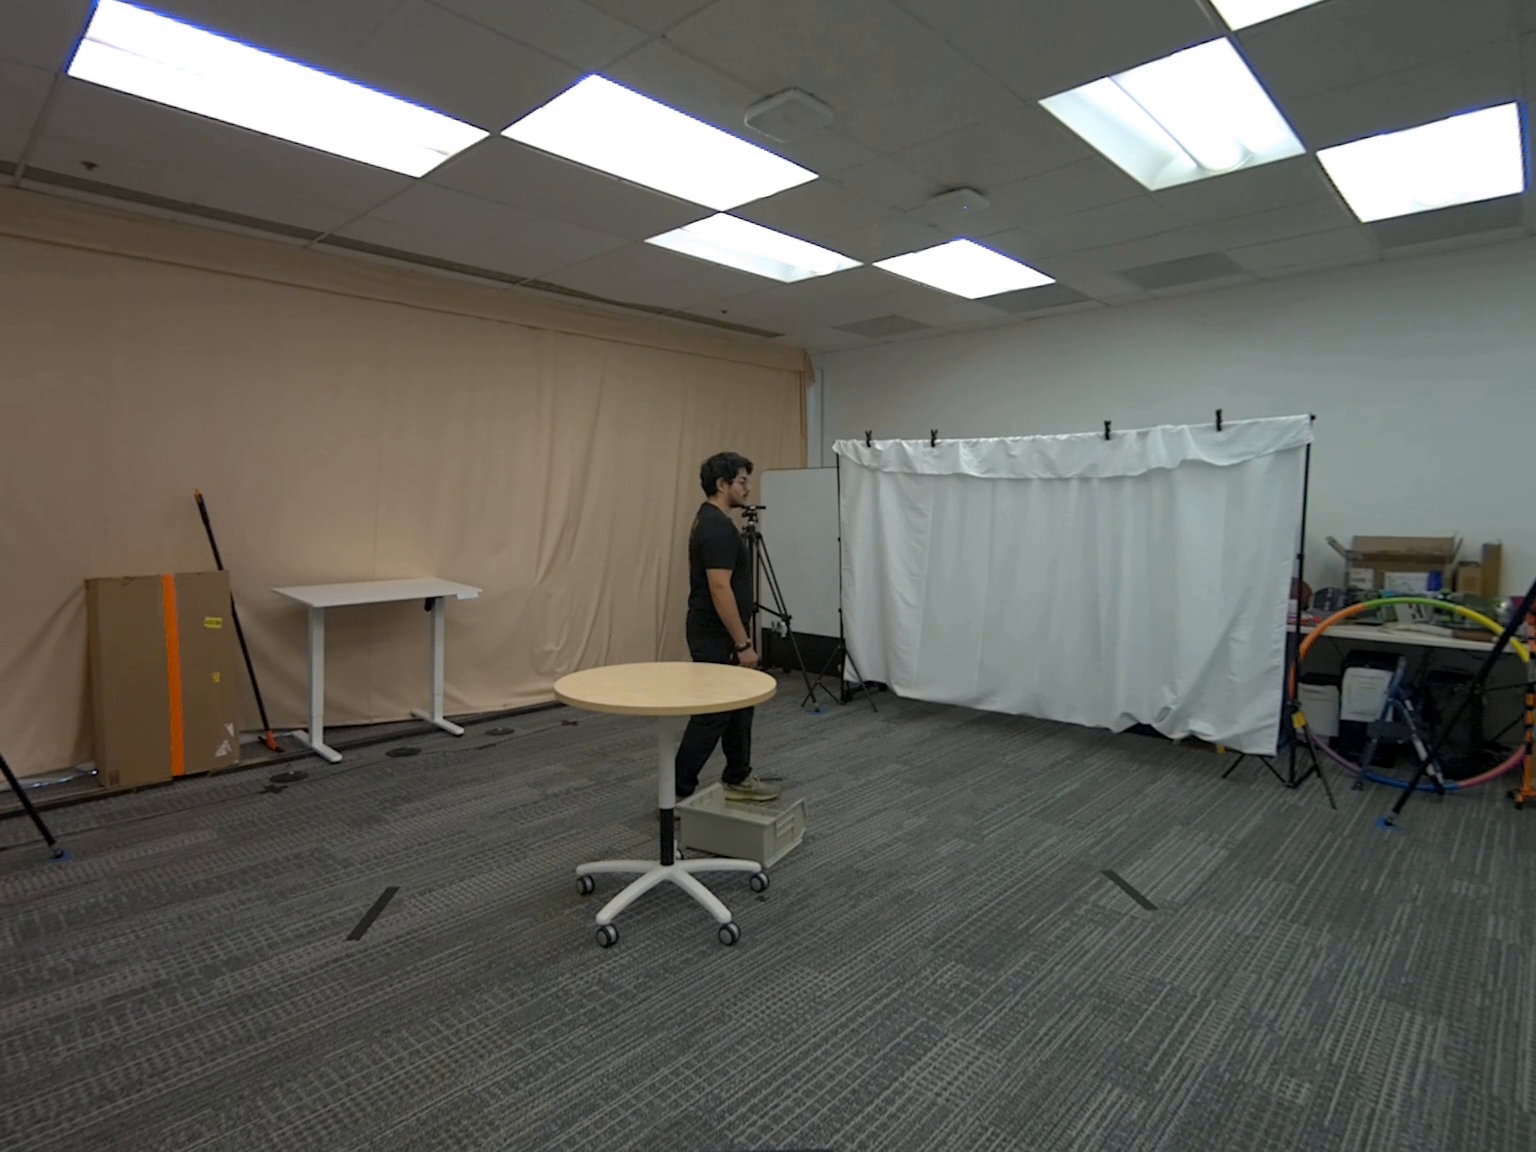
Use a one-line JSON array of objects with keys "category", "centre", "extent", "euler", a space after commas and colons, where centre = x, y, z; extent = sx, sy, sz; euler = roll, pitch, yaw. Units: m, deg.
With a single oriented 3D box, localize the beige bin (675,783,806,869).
[{"category": "beige bin", "centre": [-0.102, 1.014, 3.476], "extent": [0.434, 0.188, 0.368], "euler": [2, 6, 29]}]
